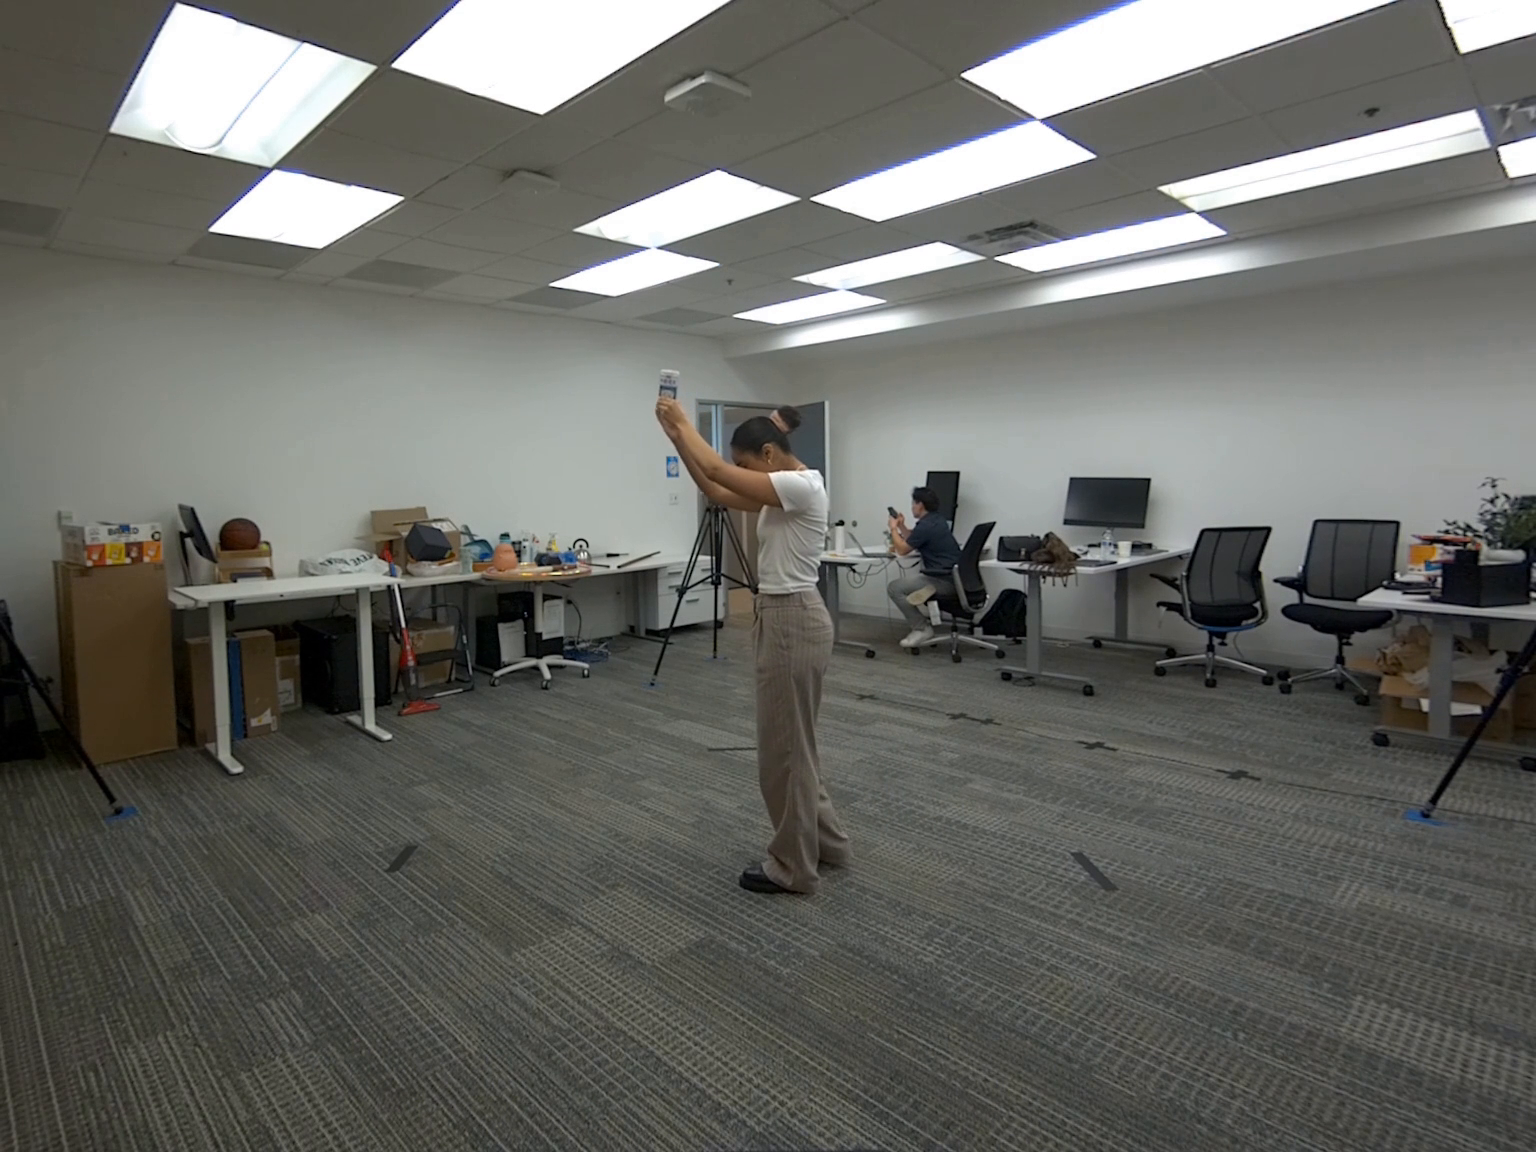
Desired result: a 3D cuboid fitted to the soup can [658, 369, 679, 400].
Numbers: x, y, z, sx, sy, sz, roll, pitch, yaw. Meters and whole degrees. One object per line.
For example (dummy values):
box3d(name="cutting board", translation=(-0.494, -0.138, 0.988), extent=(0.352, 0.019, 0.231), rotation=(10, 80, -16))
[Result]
box3d(name="soup can", translation=(-0.345, -0.654, 2.963), extent=(0.067, 0.120, 0.068), rotation=(3, 10, -2))
